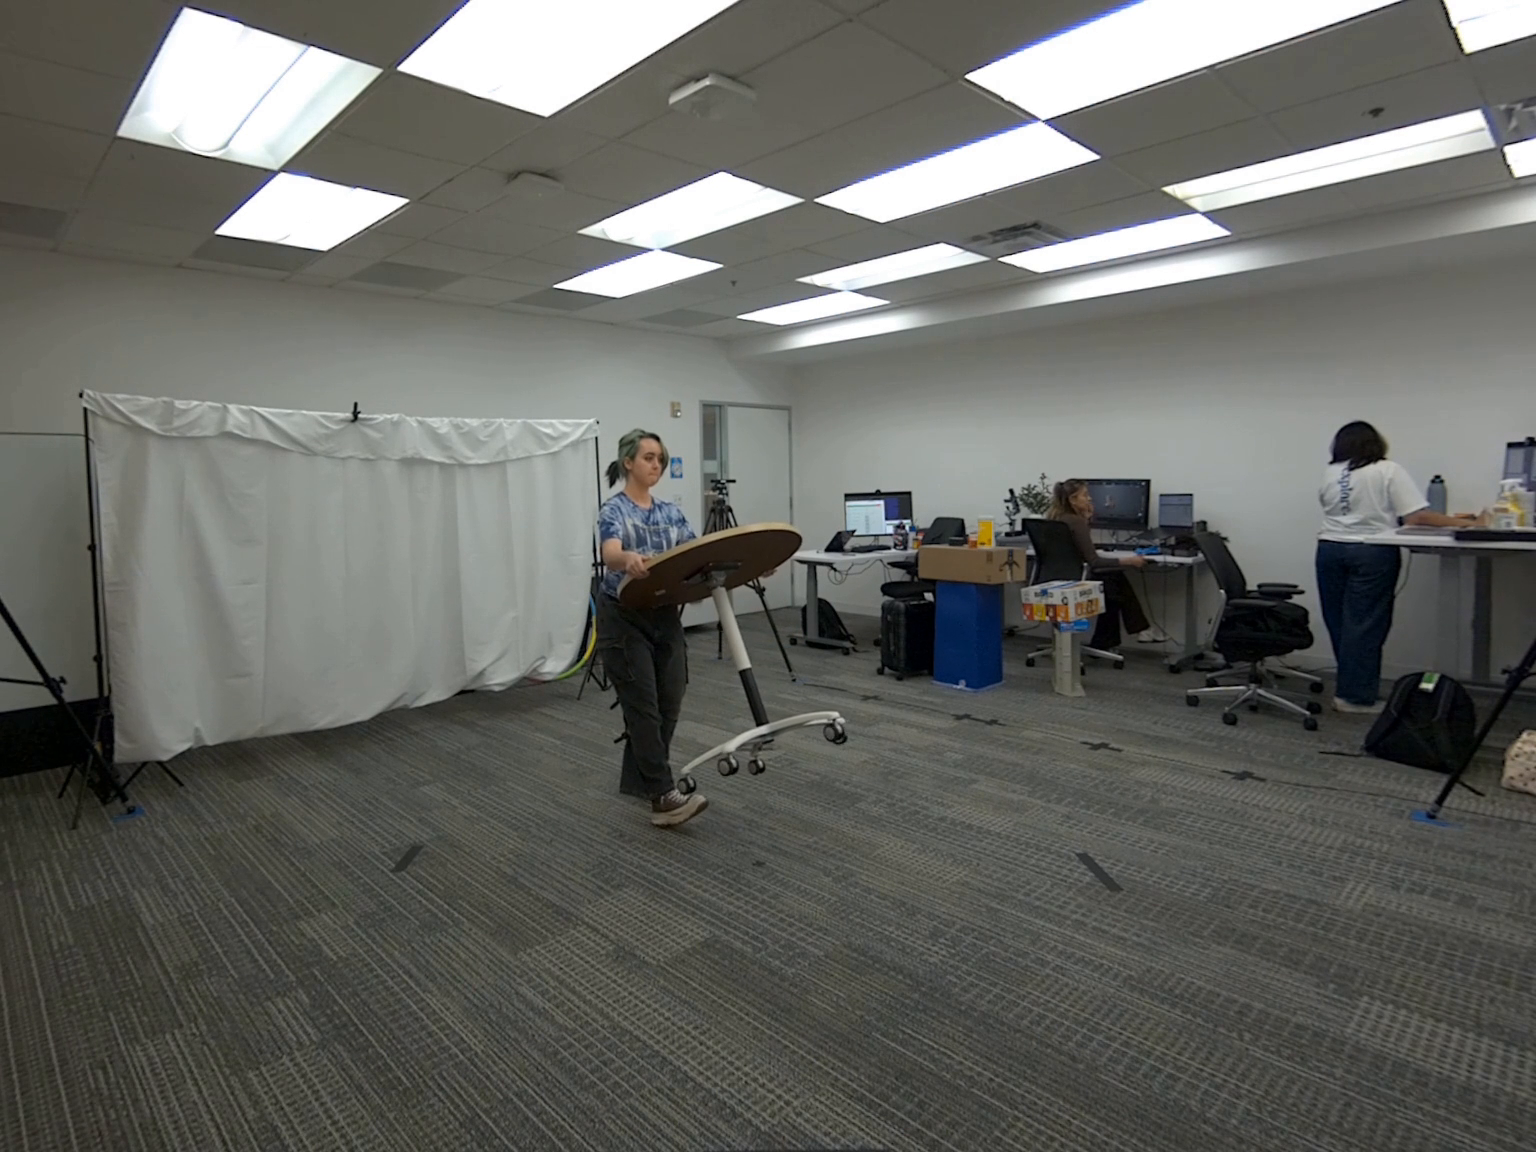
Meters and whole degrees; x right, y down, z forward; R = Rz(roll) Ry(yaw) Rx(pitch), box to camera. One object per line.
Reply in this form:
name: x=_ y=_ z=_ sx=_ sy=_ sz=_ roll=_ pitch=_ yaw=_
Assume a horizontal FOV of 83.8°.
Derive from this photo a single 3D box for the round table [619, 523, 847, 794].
round table: x=-0.099 y=0.330 z=3.272 sx=0.761 sy=0.810 sz=0.753 roll=-17 pitch=-16 yaw=-7
